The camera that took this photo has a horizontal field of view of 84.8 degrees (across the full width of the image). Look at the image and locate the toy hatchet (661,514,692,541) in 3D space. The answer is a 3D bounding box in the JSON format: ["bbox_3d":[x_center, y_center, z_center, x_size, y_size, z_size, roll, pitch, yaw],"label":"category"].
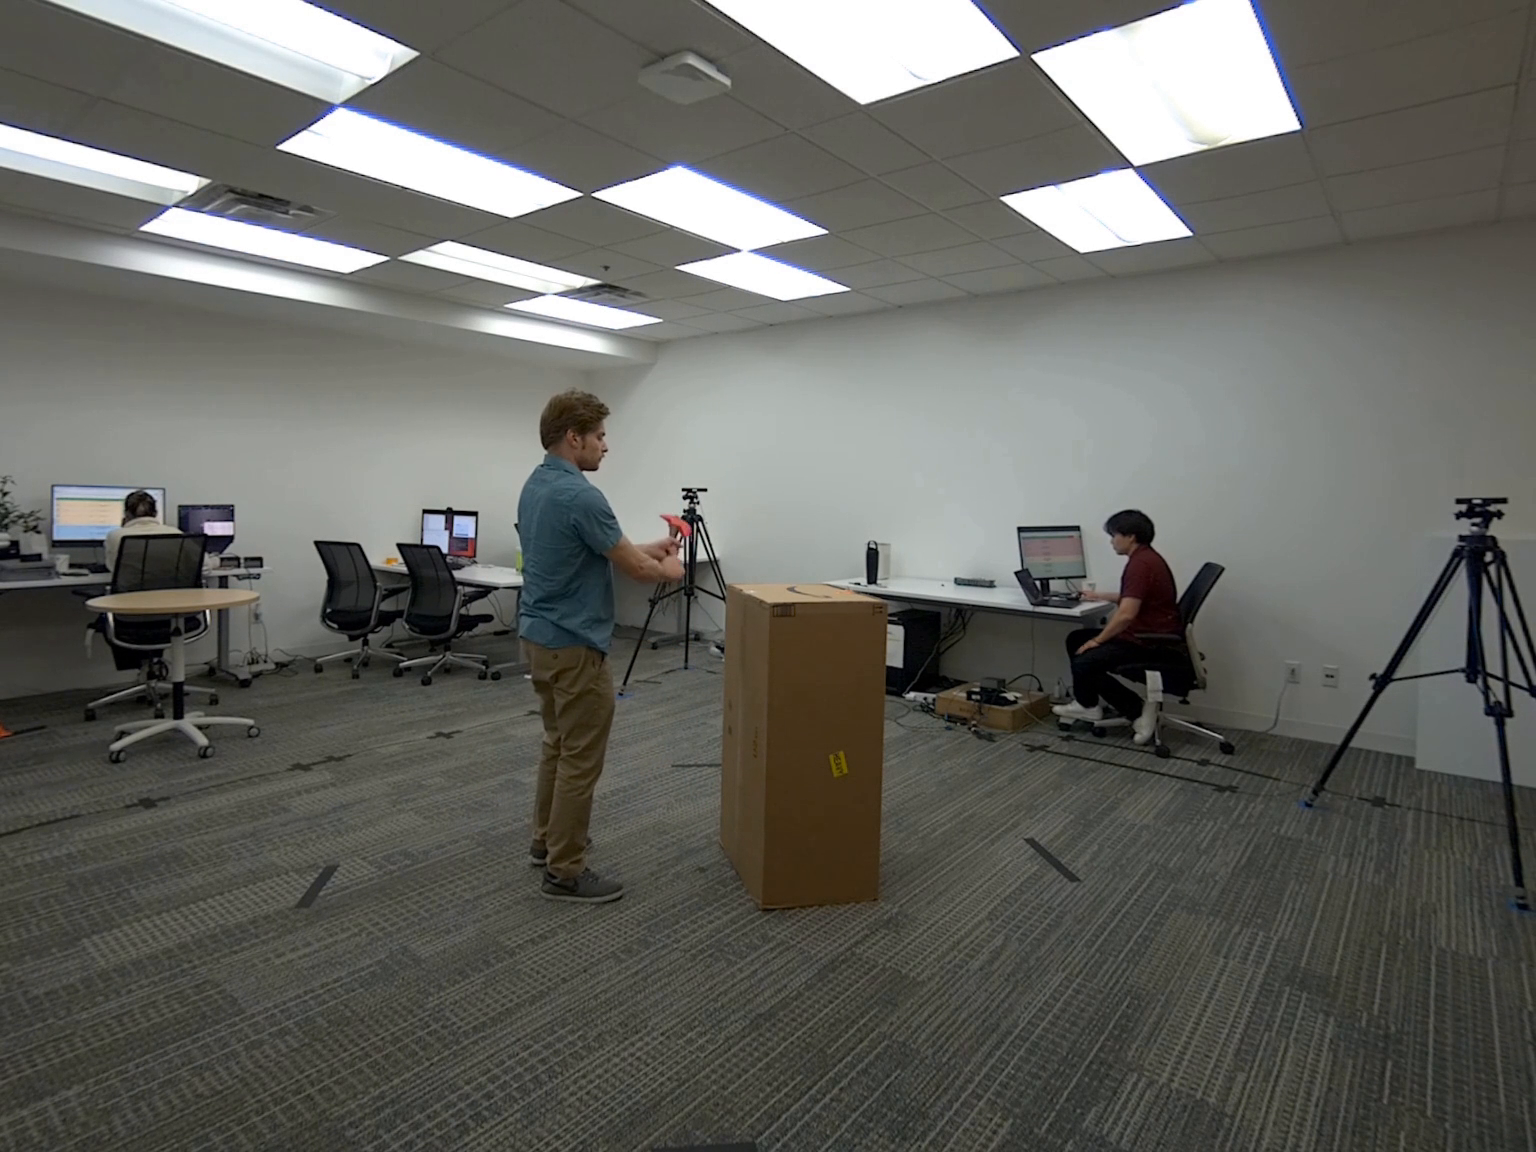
[{"bbox_3d":[-0.351,-0.111,3.171,0.127,0.277,0.030,8,-31,-33],"label":"toy hatchet"}]
